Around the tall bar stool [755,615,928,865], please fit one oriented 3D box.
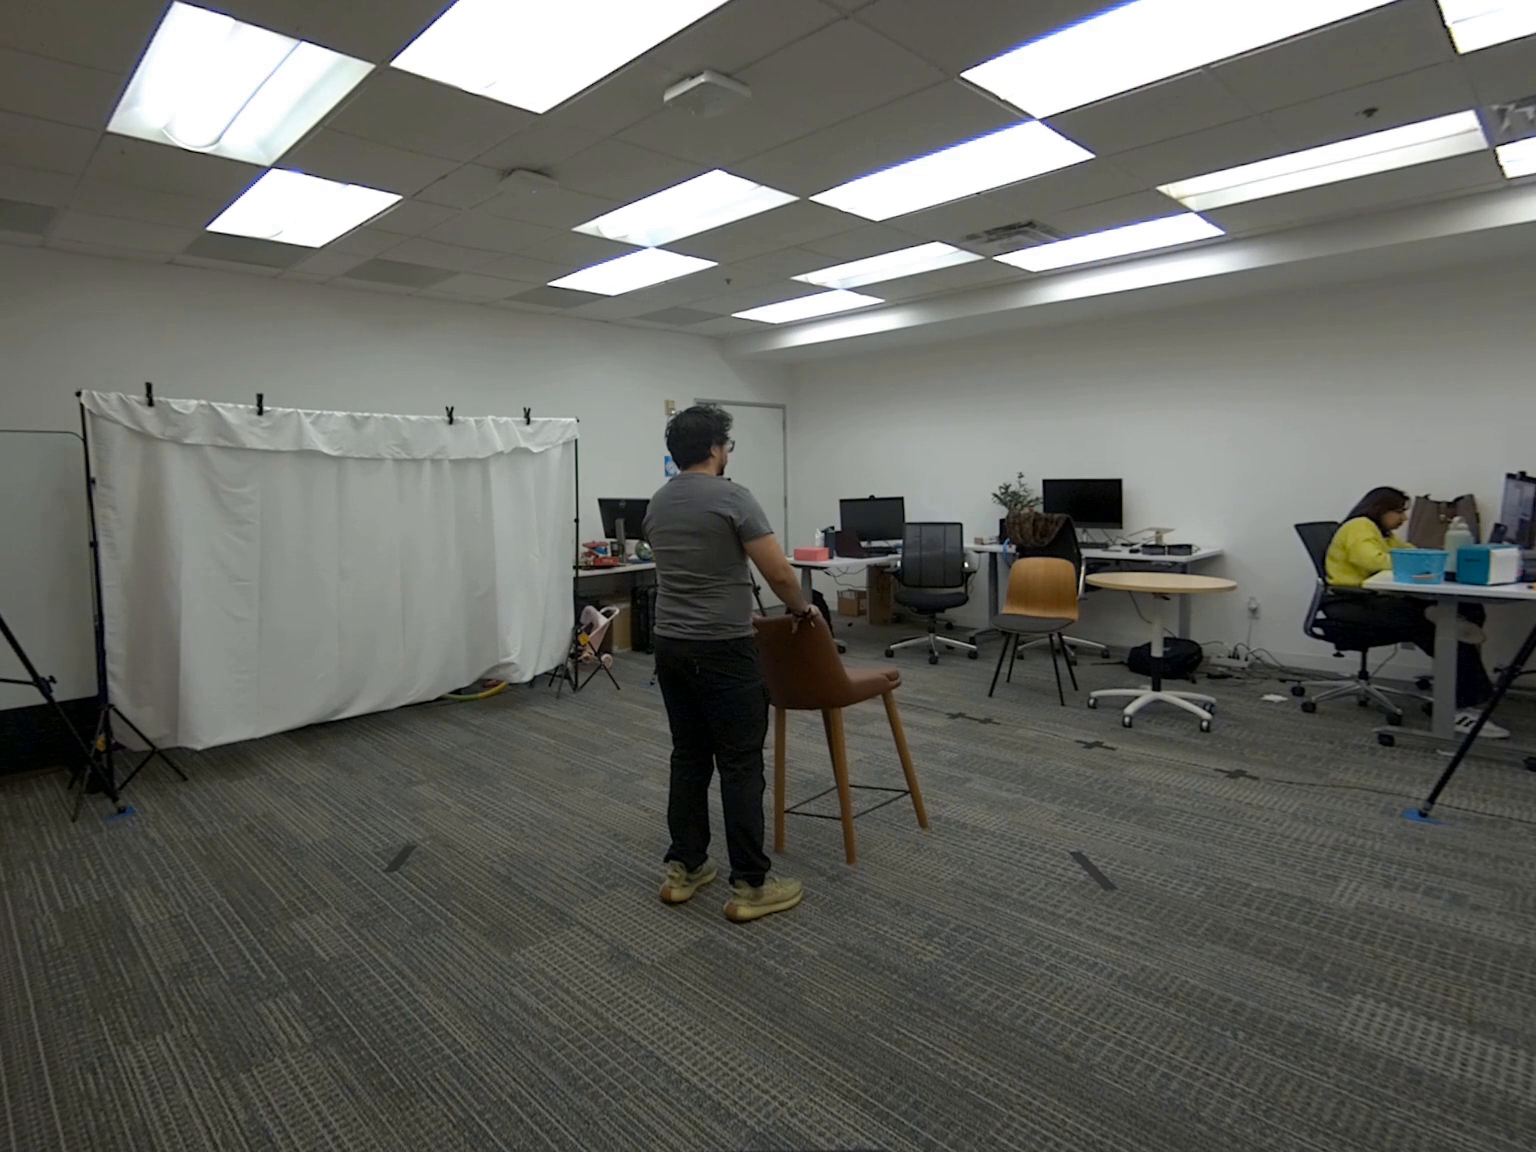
[{"bbox_3d":[0.240,0.560,3.243,0.456,0.891,0.467,-8,-2,-44],"label":"tall bar stool"}]
